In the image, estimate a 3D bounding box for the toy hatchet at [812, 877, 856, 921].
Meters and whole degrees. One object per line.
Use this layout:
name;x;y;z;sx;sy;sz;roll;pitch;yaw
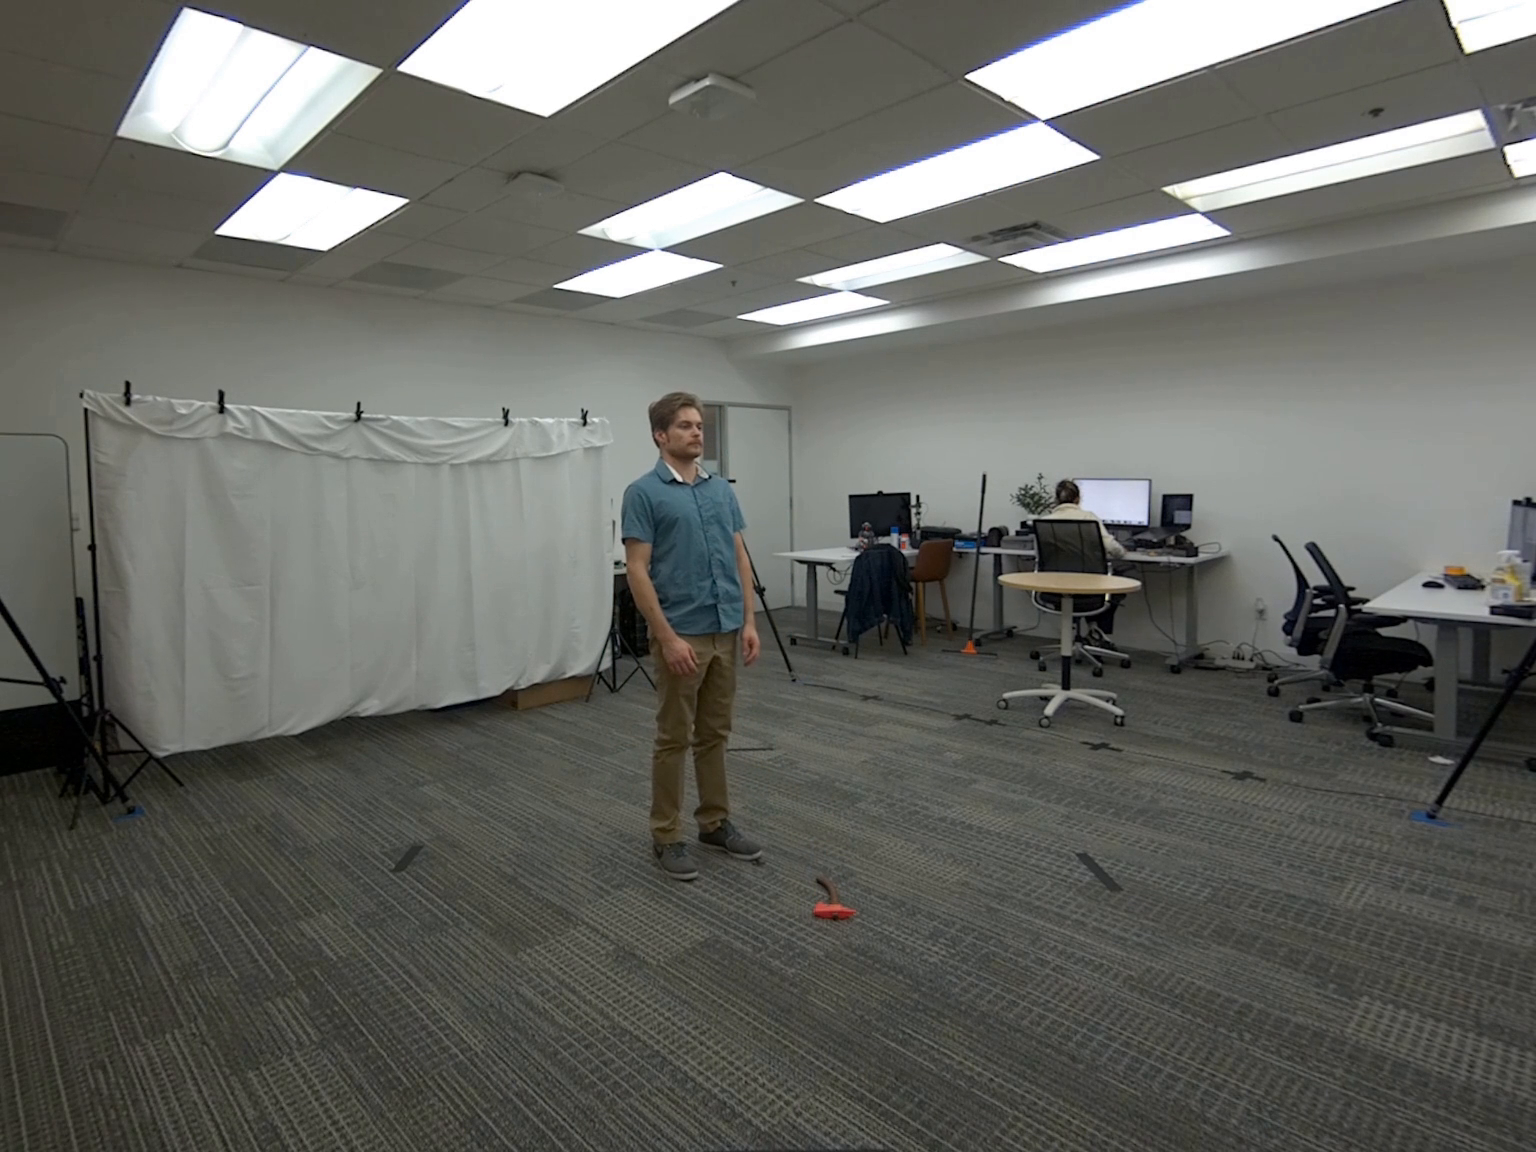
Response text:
toy hatchet;0.183;1.067;2.823;0.129;0.029;0.275;-6;5;-17
